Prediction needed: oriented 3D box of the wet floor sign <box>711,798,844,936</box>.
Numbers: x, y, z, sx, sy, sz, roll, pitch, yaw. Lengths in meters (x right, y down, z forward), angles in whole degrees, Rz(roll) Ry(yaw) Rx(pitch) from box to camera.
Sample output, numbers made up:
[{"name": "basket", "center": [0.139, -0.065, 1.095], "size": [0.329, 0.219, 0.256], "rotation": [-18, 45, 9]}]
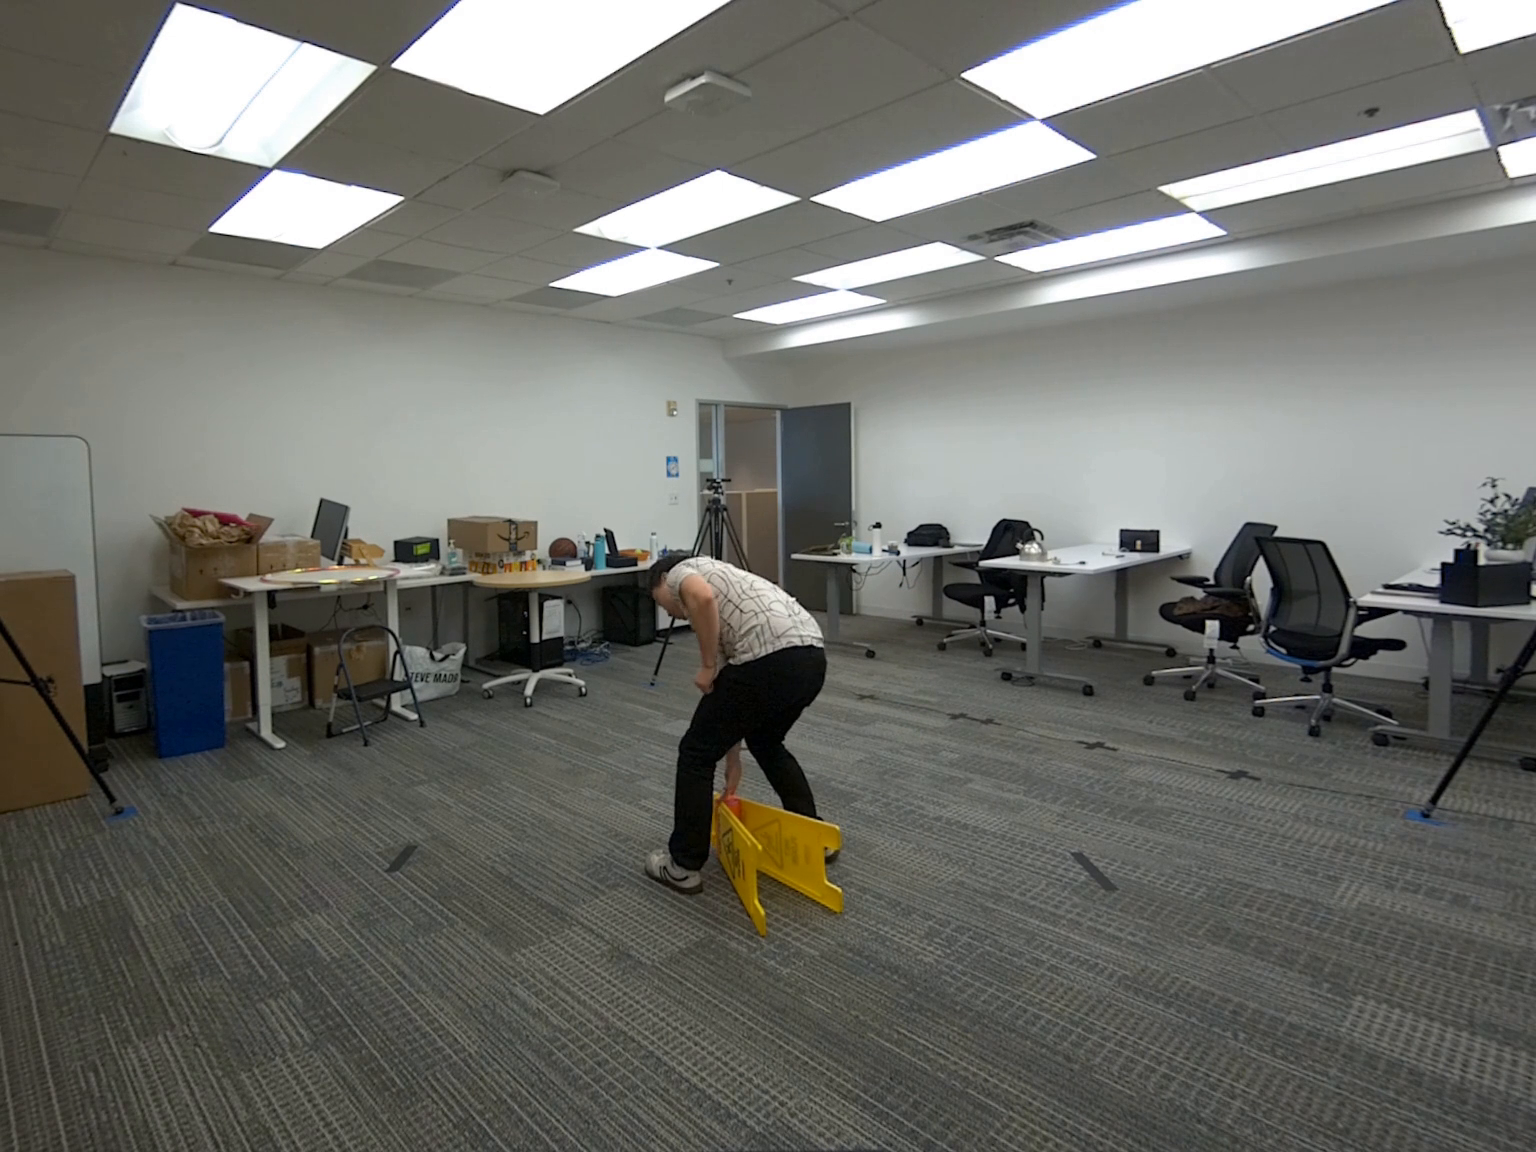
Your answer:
[{"name": "wet floor sign", "center": [-0.053, 0.932, 2.948], "size": [0.283, 0.281, 0.663], "rotation": [-4, 5, -29]}]
